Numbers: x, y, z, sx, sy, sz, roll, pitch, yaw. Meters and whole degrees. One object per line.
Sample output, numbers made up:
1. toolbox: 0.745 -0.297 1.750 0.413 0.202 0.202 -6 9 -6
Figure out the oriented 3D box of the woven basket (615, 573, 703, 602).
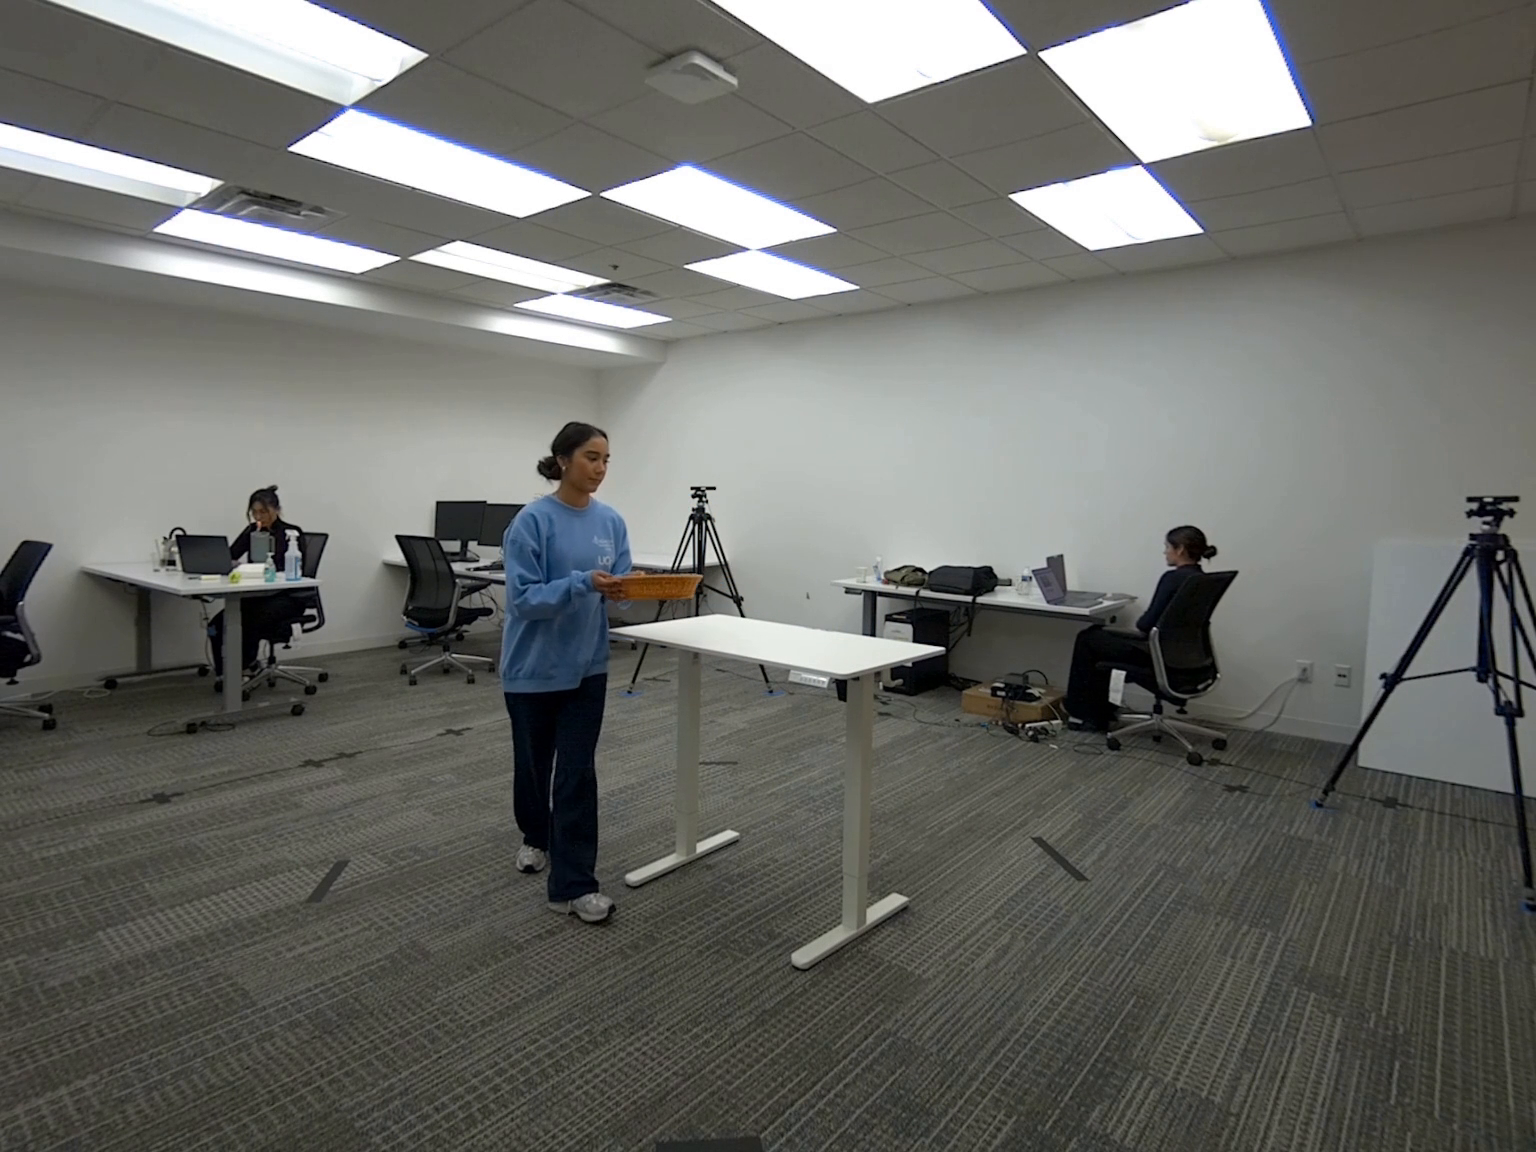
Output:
1. woven basket: -0.385 0.035 2.716 0.361 0.073 0.245 -1 1 37
